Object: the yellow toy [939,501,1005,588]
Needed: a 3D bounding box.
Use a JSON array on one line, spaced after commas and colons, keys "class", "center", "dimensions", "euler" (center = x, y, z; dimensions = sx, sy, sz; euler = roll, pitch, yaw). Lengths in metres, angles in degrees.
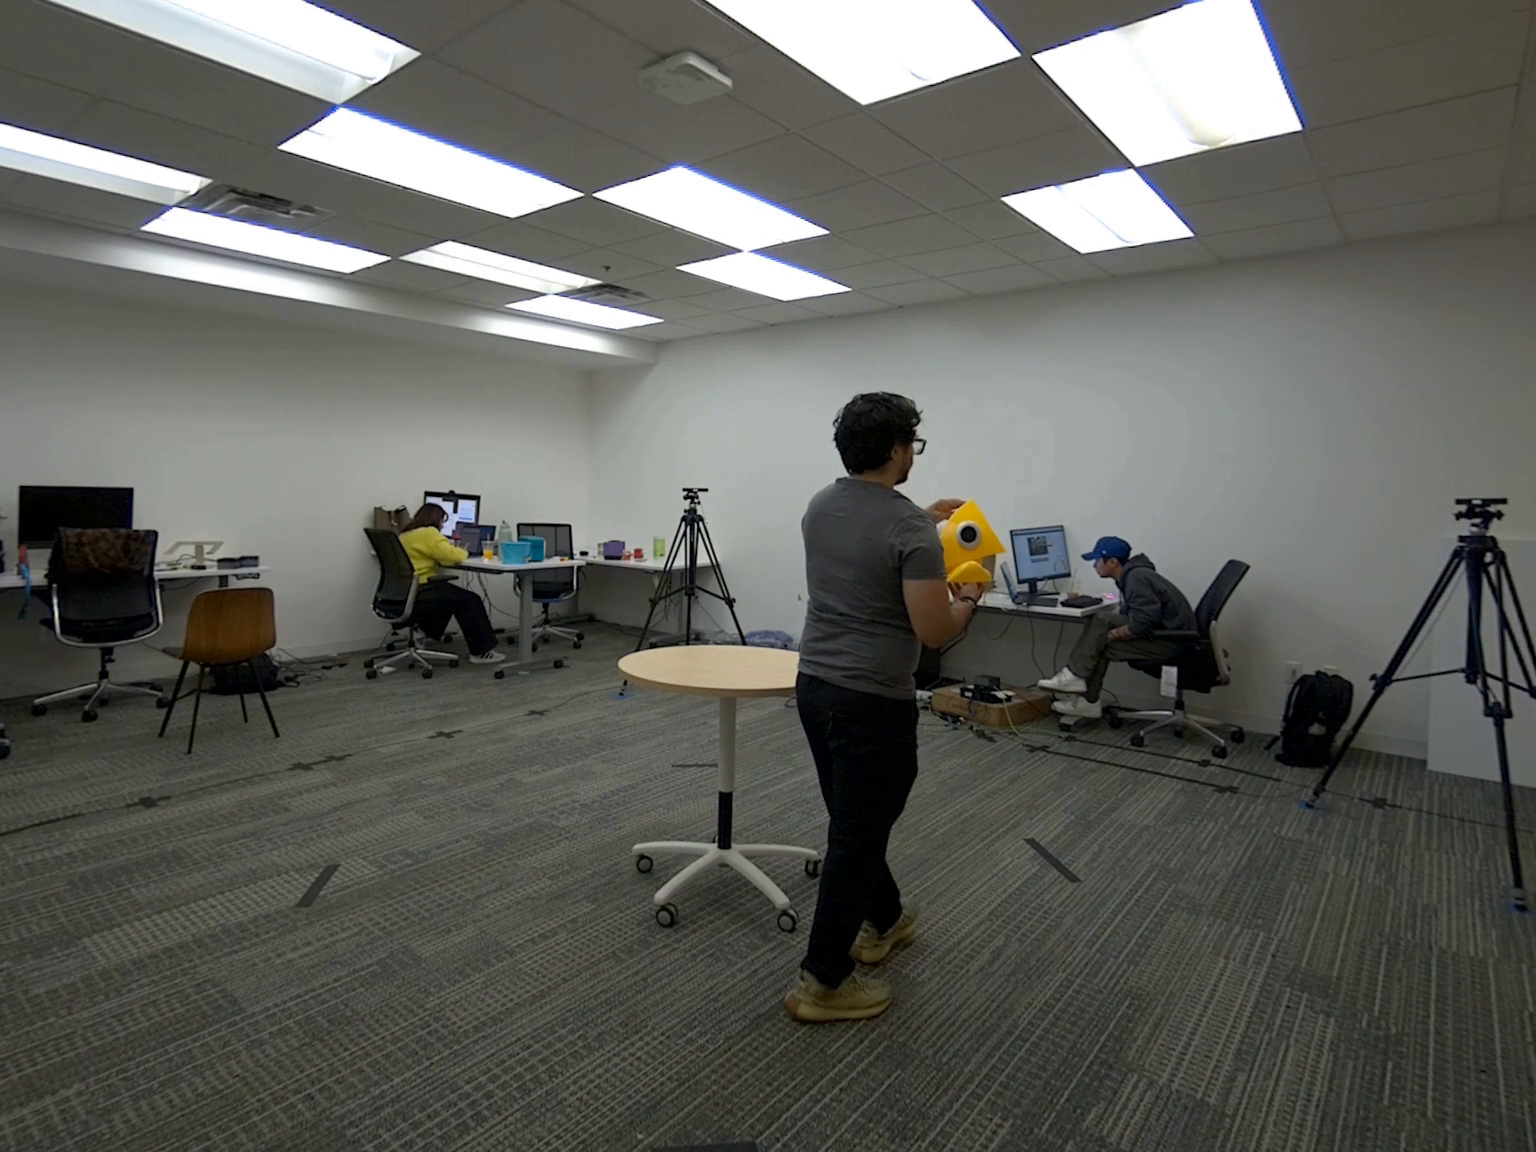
[{"class": "yellow toy", "center": [0.541, -0.101, 2.412], "dimensions": [0.188, 0.230, 0.211], "euler": [-3, 5, -28]}]
